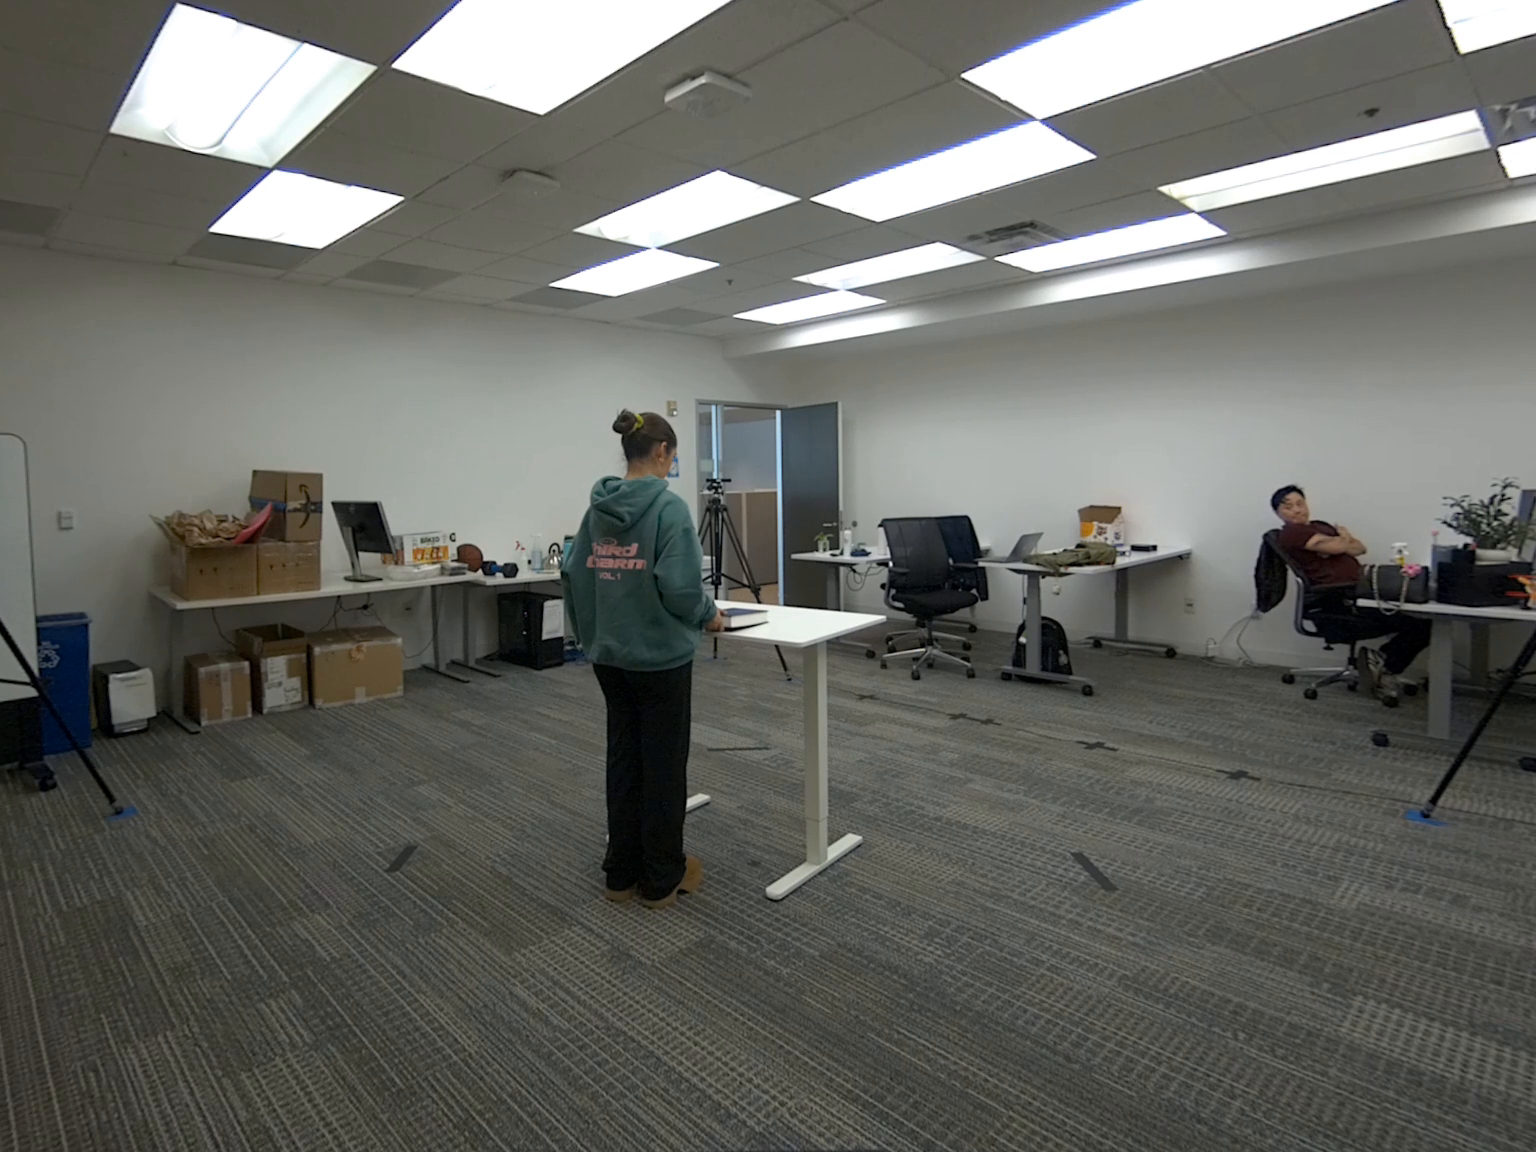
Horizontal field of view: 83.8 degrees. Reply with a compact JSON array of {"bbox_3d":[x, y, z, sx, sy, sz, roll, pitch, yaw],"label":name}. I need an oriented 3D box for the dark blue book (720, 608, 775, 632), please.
[{"bbox_3d":[-0.111,0.151,3.012,0.168,0.045,0.239,2,4,31],"label":"dark blue book"}]
